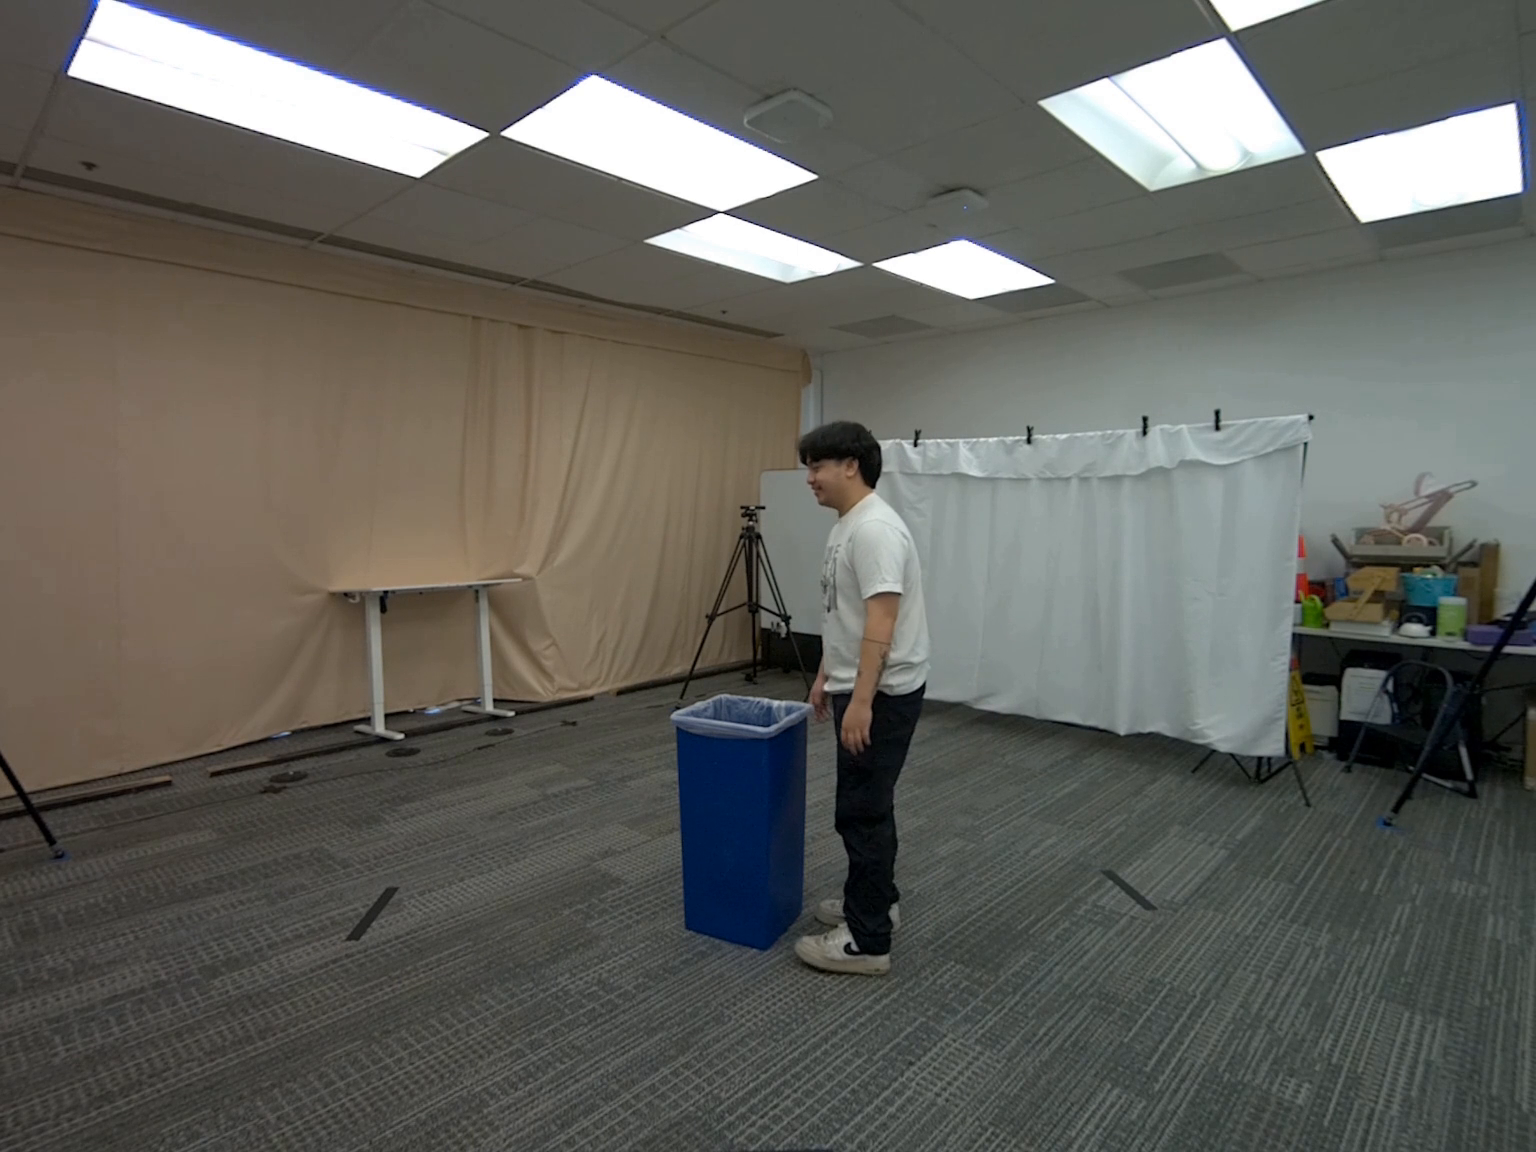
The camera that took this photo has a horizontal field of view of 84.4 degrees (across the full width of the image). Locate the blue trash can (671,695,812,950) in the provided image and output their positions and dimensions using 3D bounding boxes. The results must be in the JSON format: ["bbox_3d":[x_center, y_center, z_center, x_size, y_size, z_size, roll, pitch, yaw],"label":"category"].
[{"bbox_3d":[-0.074,0.800,2.806,0.388,0.712,0.365,1,3,27],"label":"blue trash can"}]
